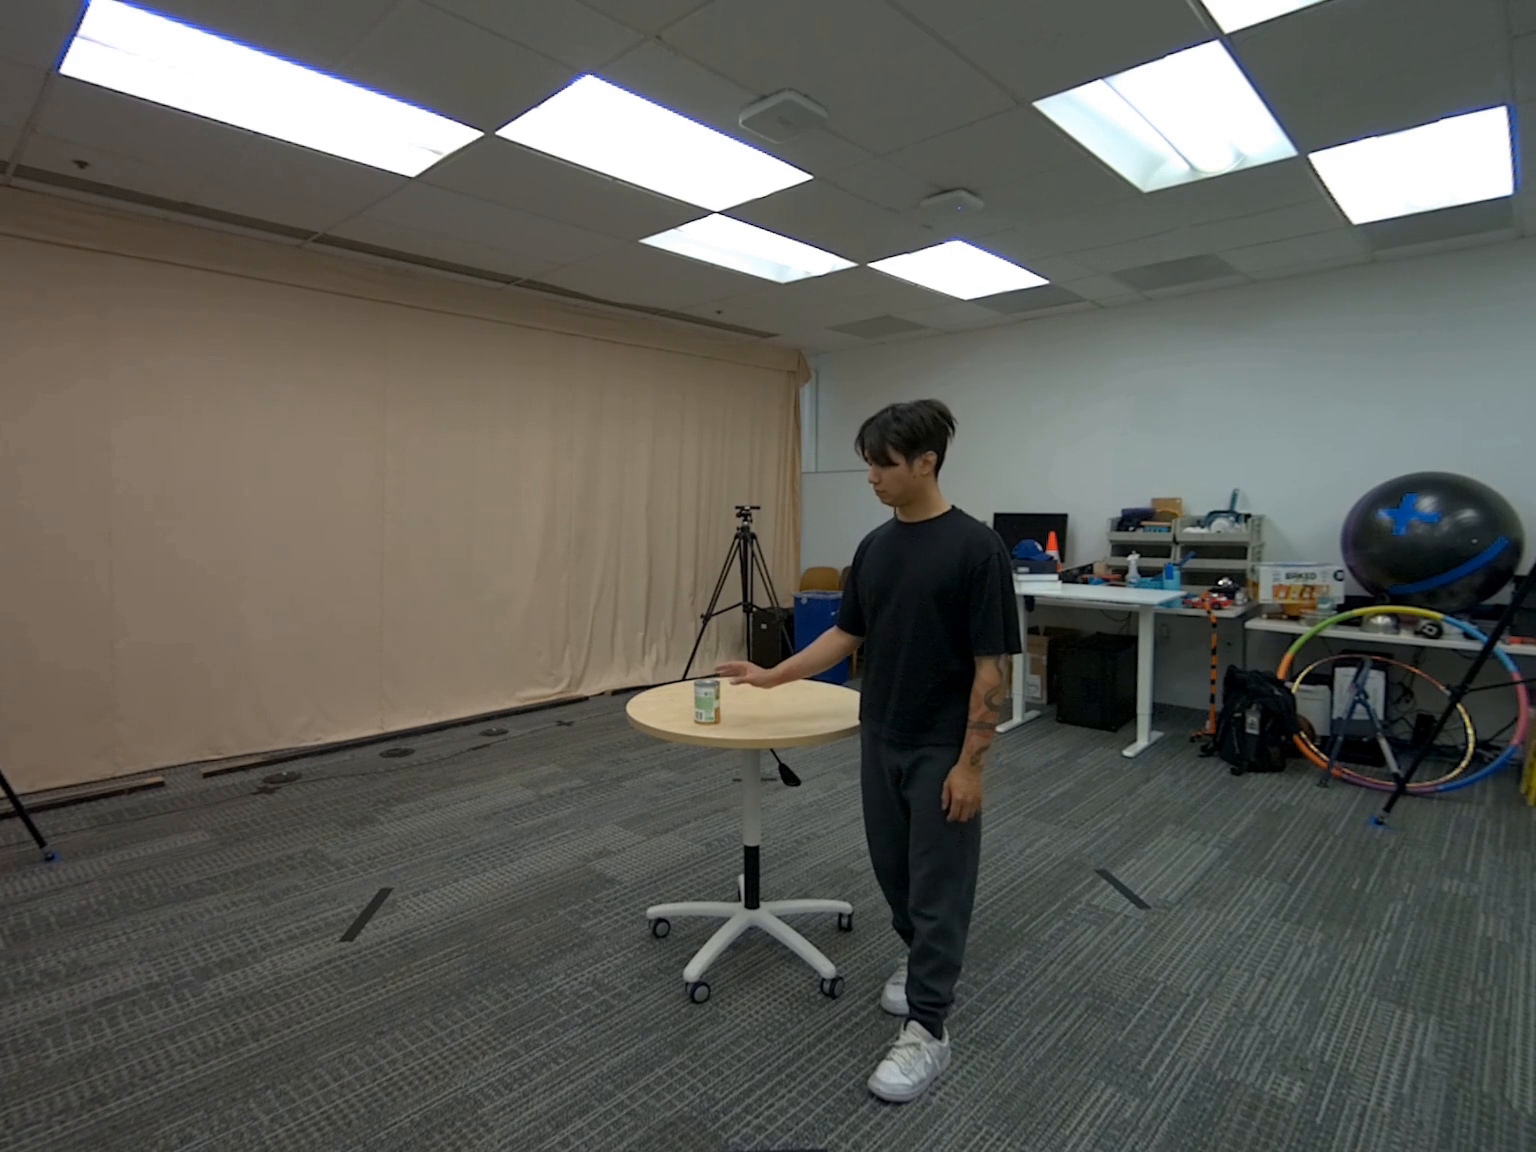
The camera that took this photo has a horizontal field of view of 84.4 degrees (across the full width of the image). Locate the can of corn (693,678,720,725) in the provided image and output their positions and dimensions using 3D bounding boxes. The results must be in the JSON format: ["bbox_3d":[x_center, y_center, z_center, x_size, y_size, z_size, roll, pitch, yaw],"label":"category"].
[{"bbox_3d":[-0.173,0.363,2.381,0.074,0.111,0.074,1,4,-2],"label":"can of corn"}]
